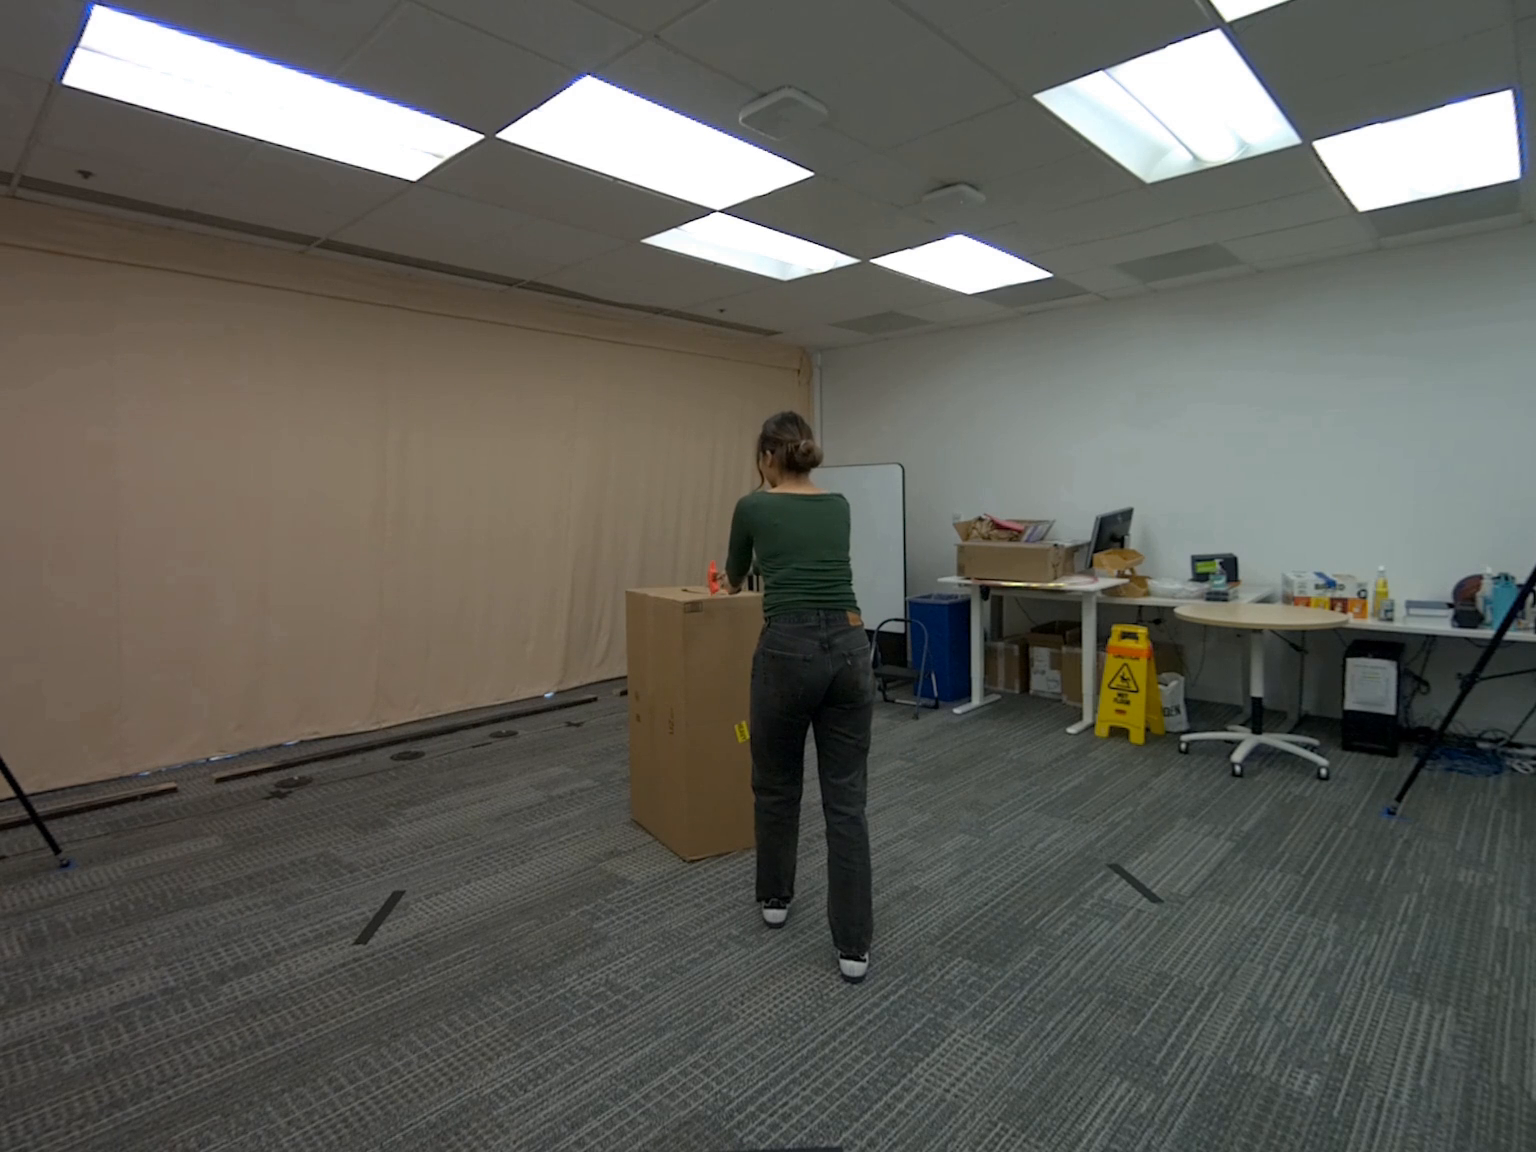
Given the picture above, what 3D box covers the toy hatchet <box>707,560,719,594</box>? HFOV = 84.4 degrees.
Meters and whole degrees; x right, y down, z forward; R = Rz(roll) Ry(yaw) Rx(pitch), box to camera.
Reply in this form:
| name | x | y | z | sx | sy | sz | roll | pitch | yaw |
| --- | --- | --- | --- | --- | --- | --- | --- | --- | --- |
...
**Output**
| name | x | y | z | sx | sy | sz | roll | pitch | yaw |
| --- | --- | --- | --- | --- | --- | --- | --- | --- | --- |
| toy hatchet | -0.174 | 0.021 | 3.286 | 0.029 | 0.130 | 0.279 | 5 | 17 | -27 |
